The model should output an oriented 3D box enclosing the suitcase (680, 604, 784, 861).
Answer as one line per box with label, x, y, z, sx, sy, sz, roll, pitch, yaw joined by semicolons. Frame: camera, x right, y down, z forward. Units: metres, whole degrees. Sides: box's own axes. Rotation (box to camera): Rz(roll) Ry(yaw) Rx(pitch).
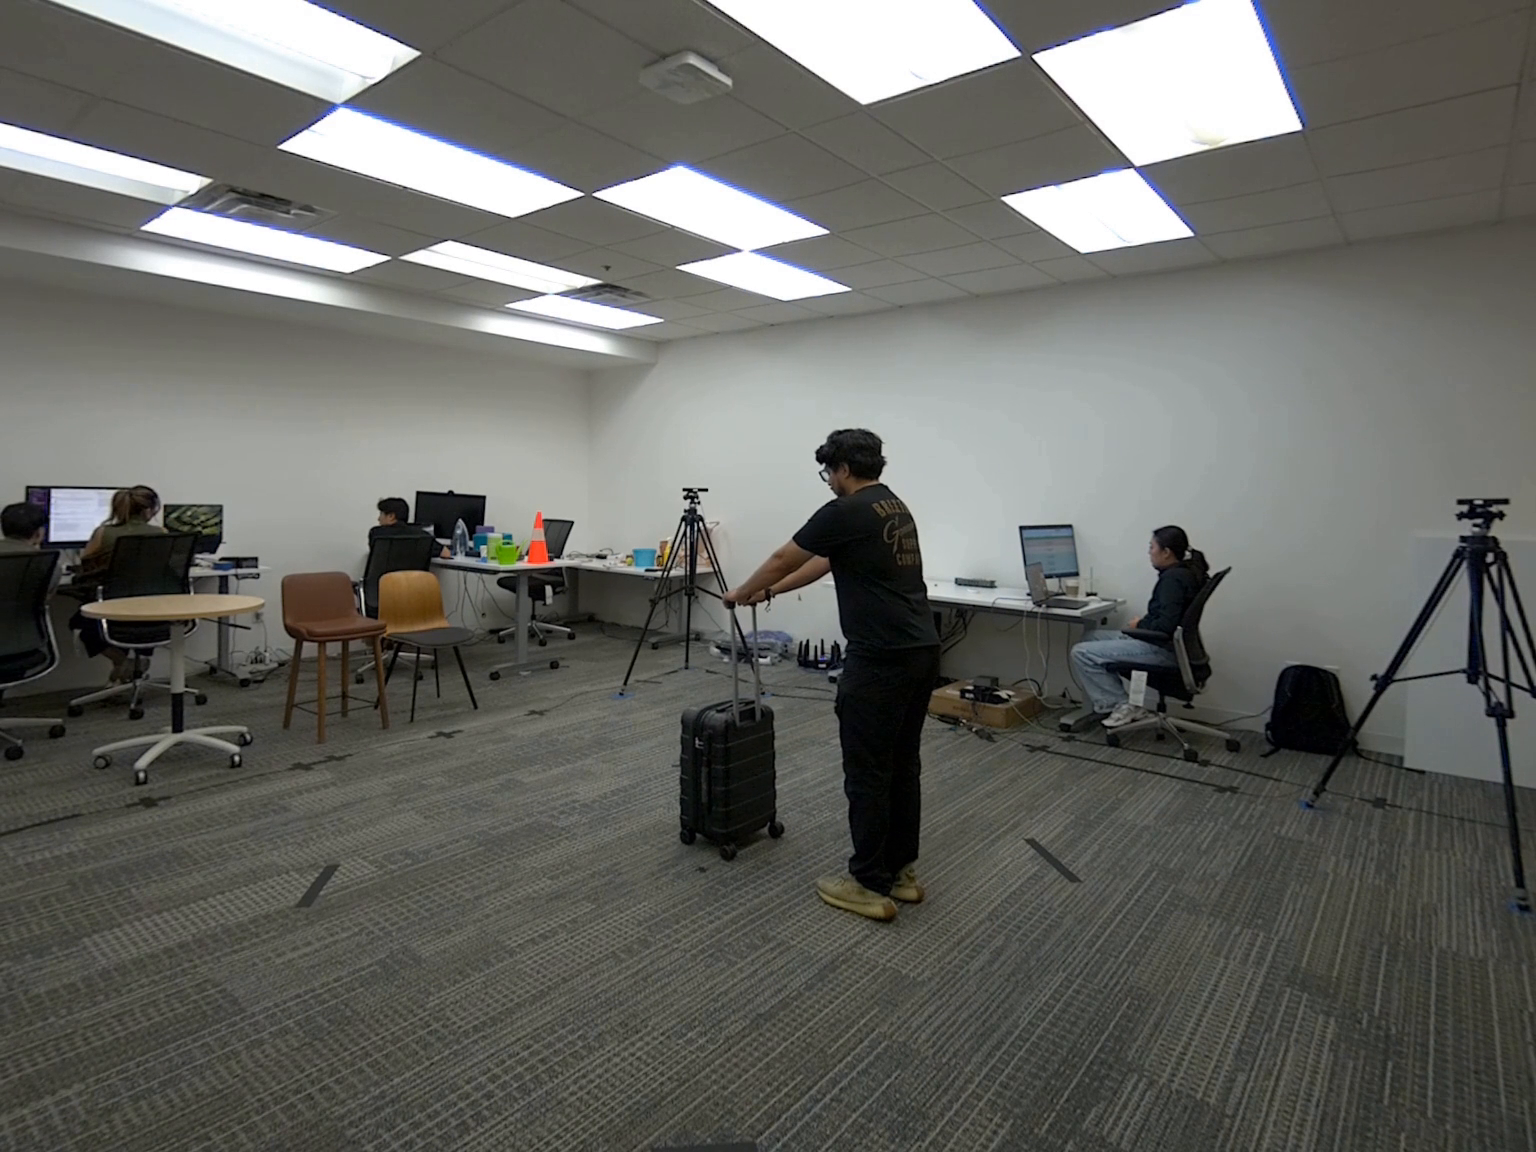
suitcase;-0.178;0.568;3.388;0.265;0.979;0.372;-4;-1;41
